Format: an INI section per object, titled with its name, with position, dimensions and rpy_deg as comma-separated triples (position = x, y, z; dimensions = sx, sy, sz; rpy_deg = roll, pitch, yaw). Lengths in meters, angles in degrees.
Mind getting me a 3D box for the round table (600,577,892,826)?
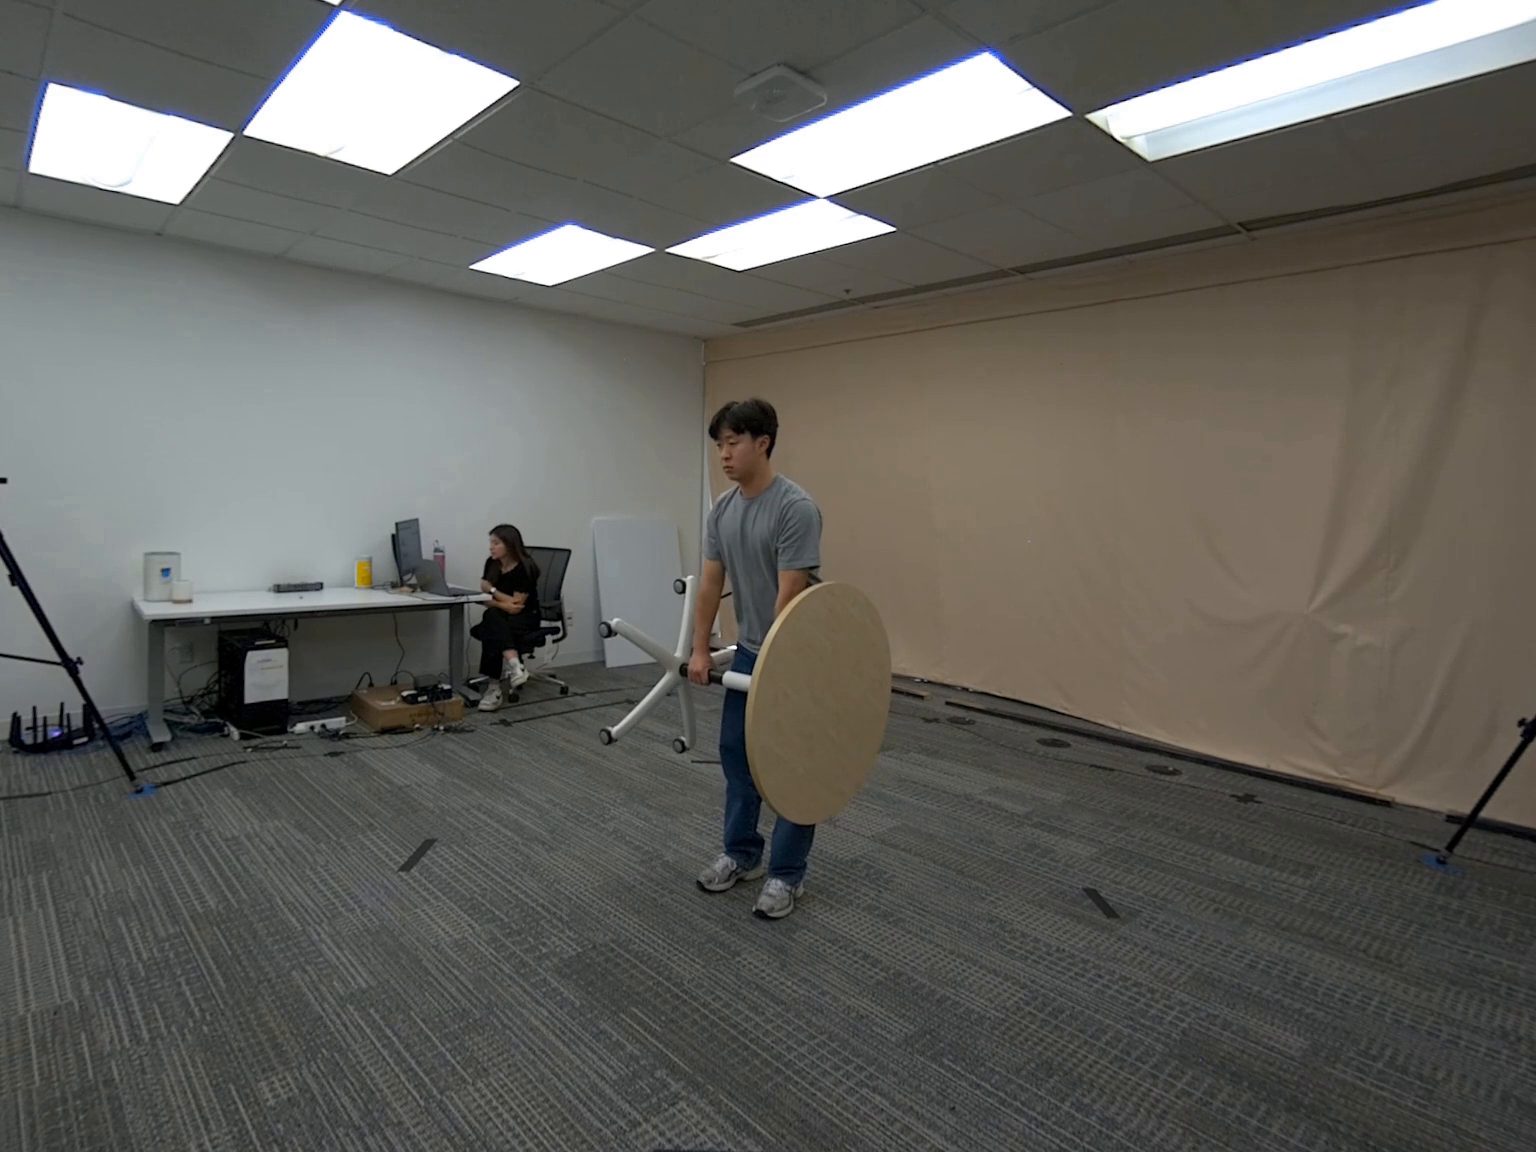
[round table]
position = -0.120, 0.381, 2.940
dimensions = 0.814, 0.762, 0.747
rpy_deg = 5, 6, 40
